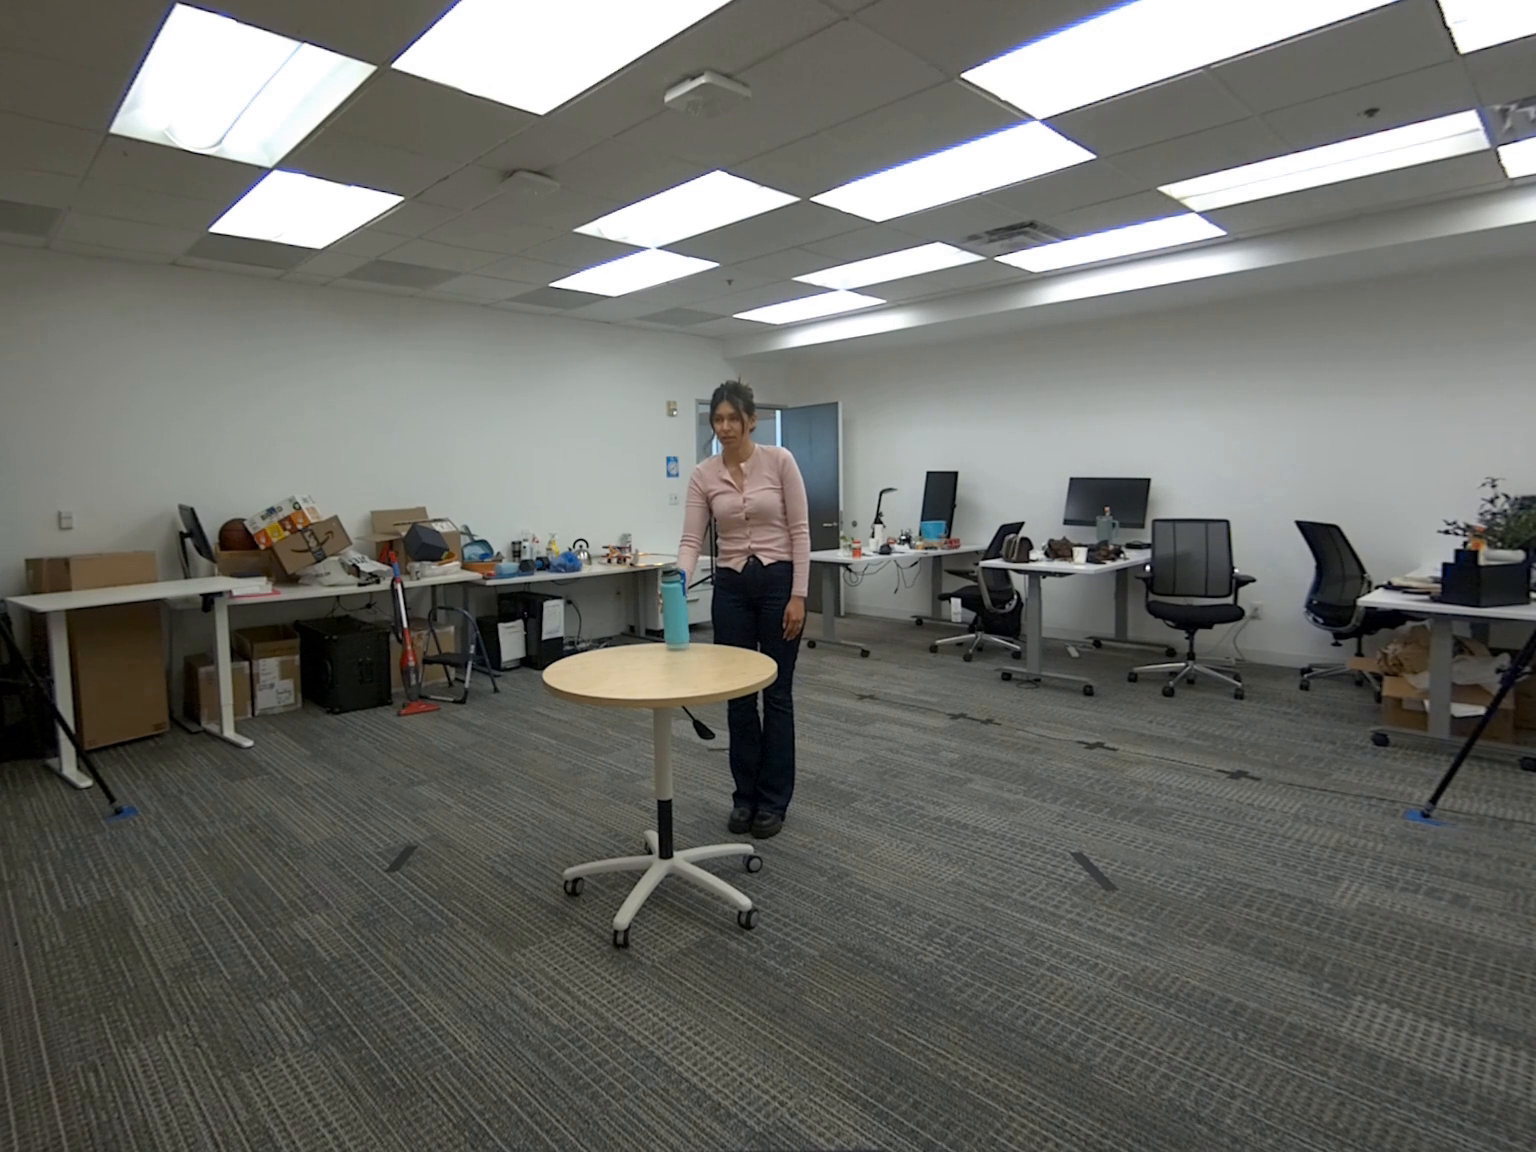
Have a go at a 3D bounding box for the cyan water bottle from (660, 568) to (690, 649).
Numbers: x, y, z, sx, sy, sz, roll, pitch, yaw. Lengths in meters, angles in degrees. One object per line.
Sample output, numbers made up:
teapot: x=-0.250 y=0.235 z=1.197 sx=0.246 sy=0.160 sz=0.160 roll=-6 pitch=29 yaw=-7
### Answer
cyan water bottle: x=-0.330 y=0.103 z=3.061 sx=0.092 sy=0.282 sz=0.093 roll=0 pitch=6 yaw=-2
